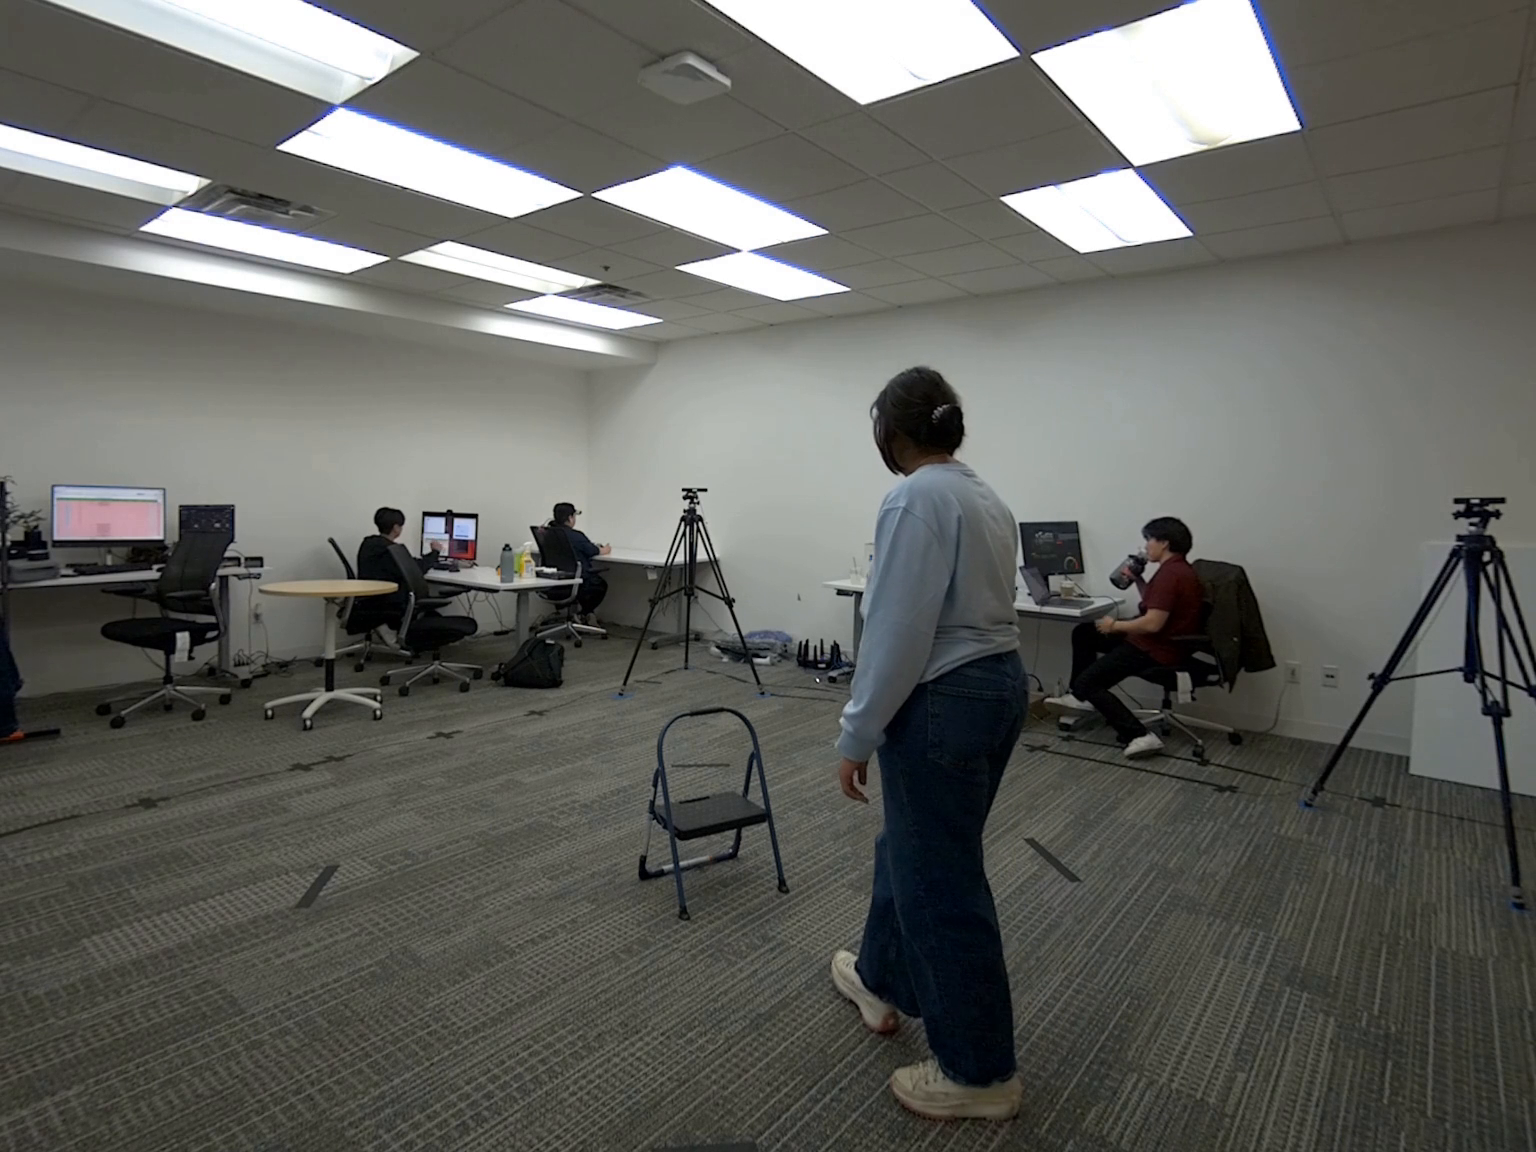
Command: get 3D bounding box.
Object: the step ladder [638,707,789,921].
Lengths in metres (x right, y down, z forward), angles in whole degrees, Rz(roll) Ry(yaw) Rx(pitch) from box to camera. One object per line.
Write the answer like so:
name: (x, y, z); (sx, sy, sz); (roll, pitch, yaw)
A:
step ladder: (-0.199, 0.779, 2.975); (0.418, 0.604, 0.360); (-1, 4, -34)
